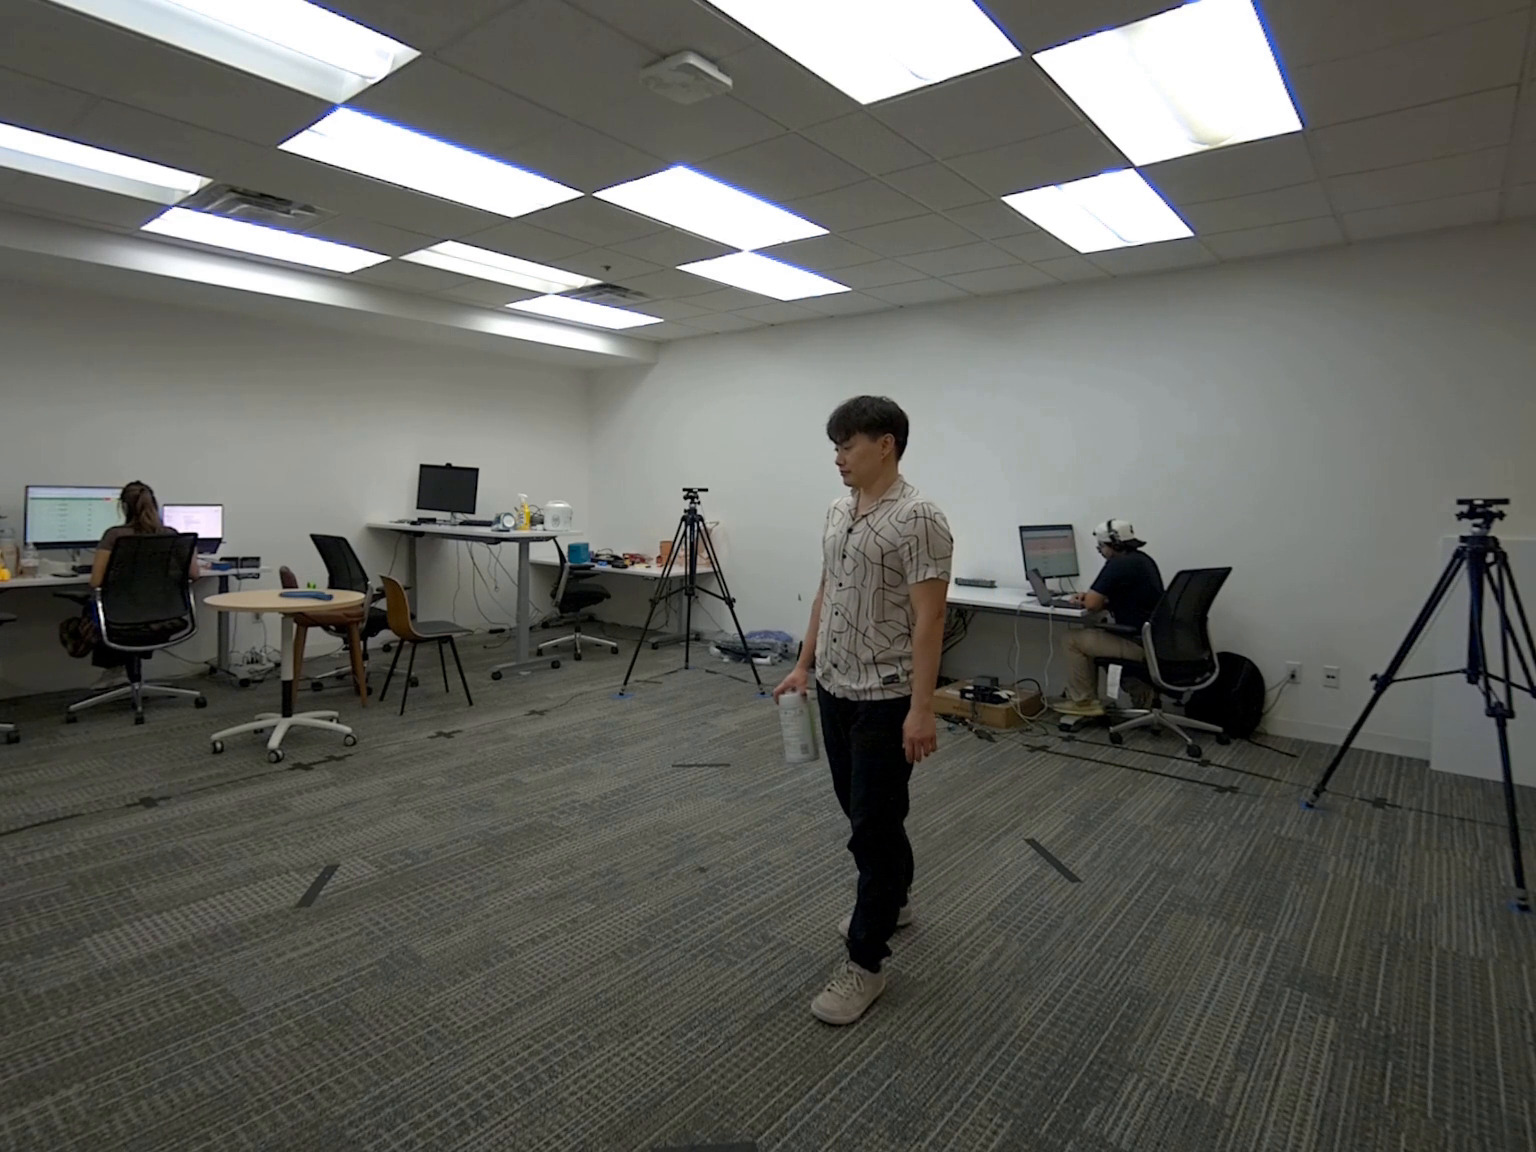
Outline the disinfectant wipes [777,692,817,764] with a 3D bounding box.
[{"bbox_3d":[0.093,0.481,2.708,0.117,0.219,0.117,-7,-6,-2],"label":"disinfectant wipes"}]
